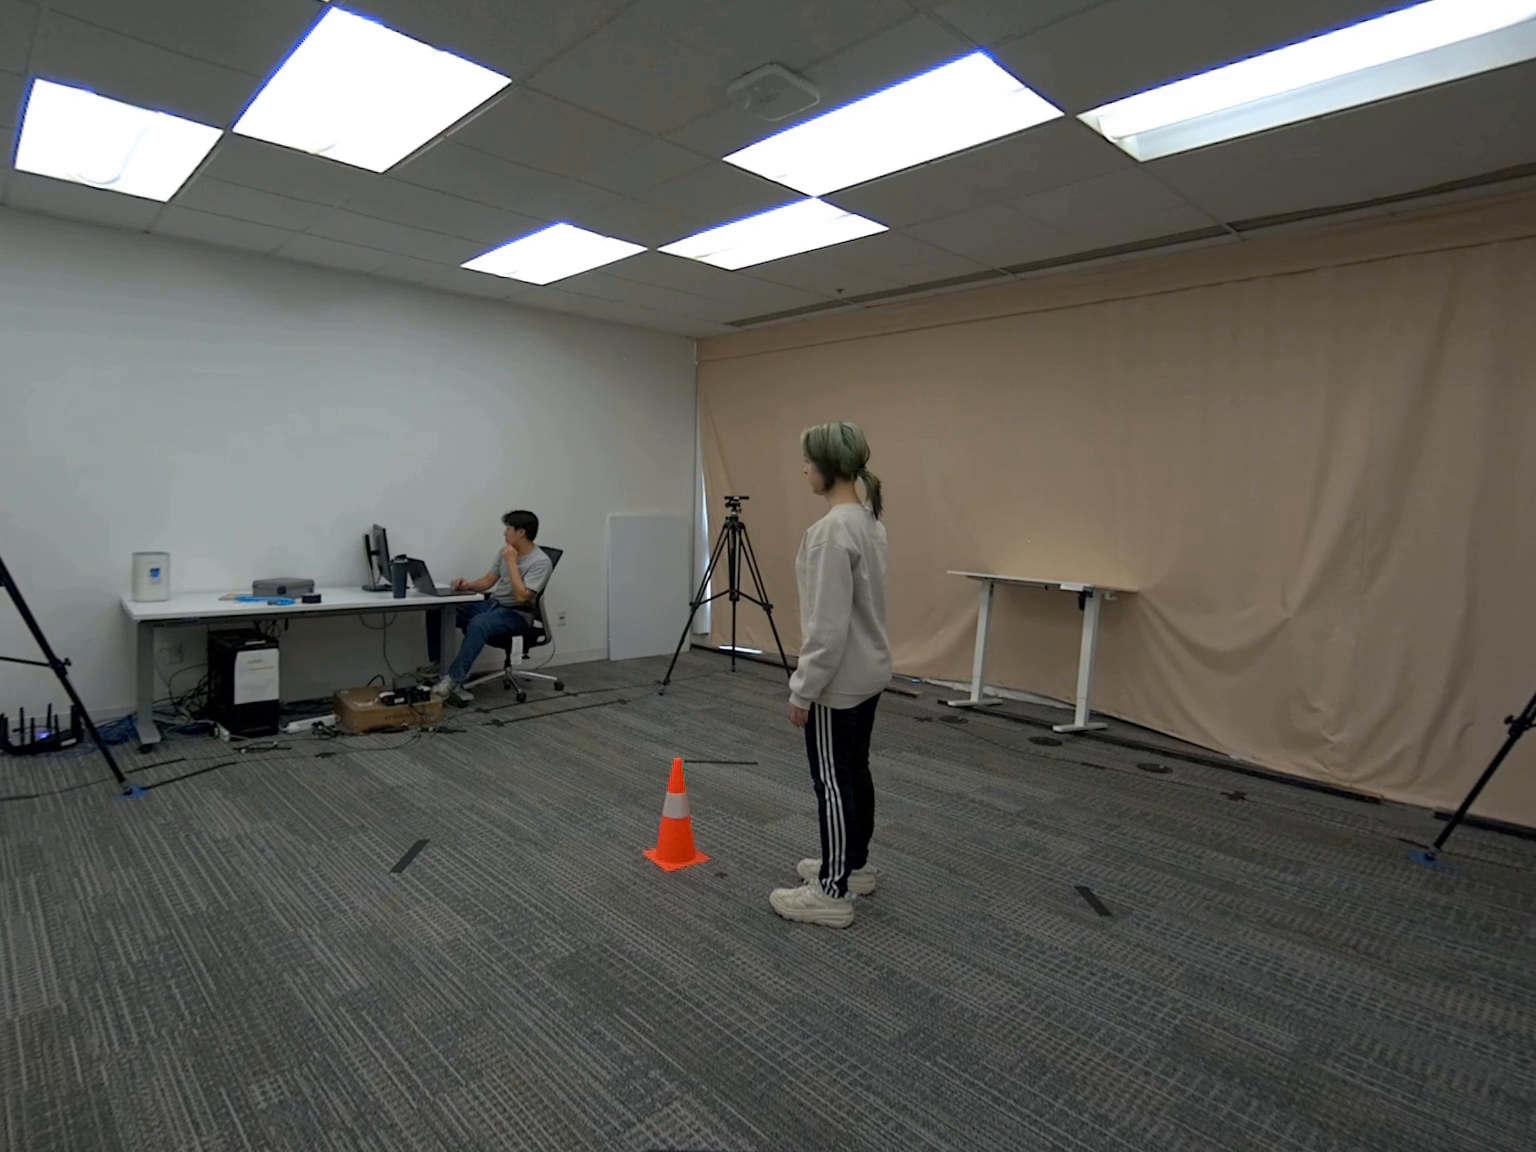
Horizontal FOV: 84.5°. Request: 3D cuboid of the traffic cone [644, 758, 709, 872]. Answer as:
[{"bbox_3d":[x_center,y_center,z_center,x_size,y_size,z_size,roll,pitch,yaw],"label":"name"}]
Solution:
[{"bbox_3d":[-0.357,0.903,3.249,0.200,0.383,0.208,1,4,-34],"label":"traffic cone"}]
